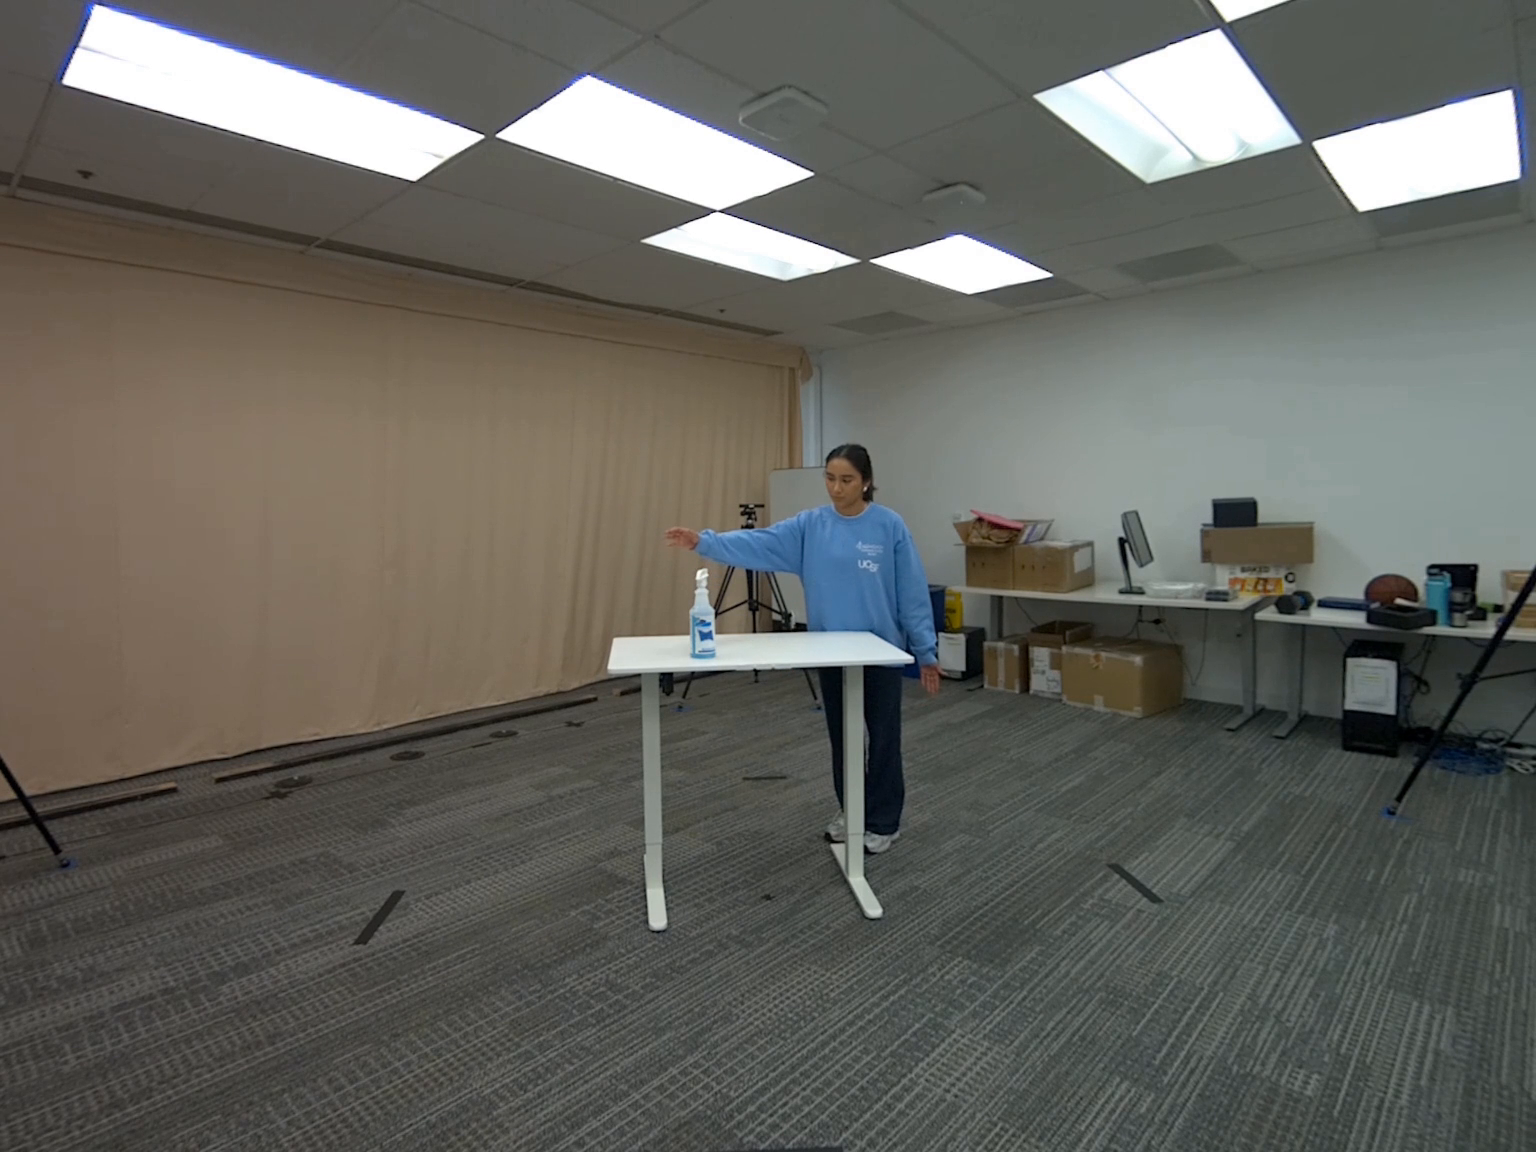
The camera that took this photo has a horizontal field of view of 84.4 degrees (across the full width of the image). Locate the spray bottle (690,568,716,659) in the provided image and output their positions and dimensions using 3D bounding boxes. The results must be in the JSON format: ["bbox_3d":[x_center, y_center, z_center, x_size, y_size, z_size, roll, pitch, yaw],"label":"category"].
[{"bbox_3d":[-0.223,0.131,2.850,0.090,0.297,0.087,0,4,40],"label":"spray bottle"}]
